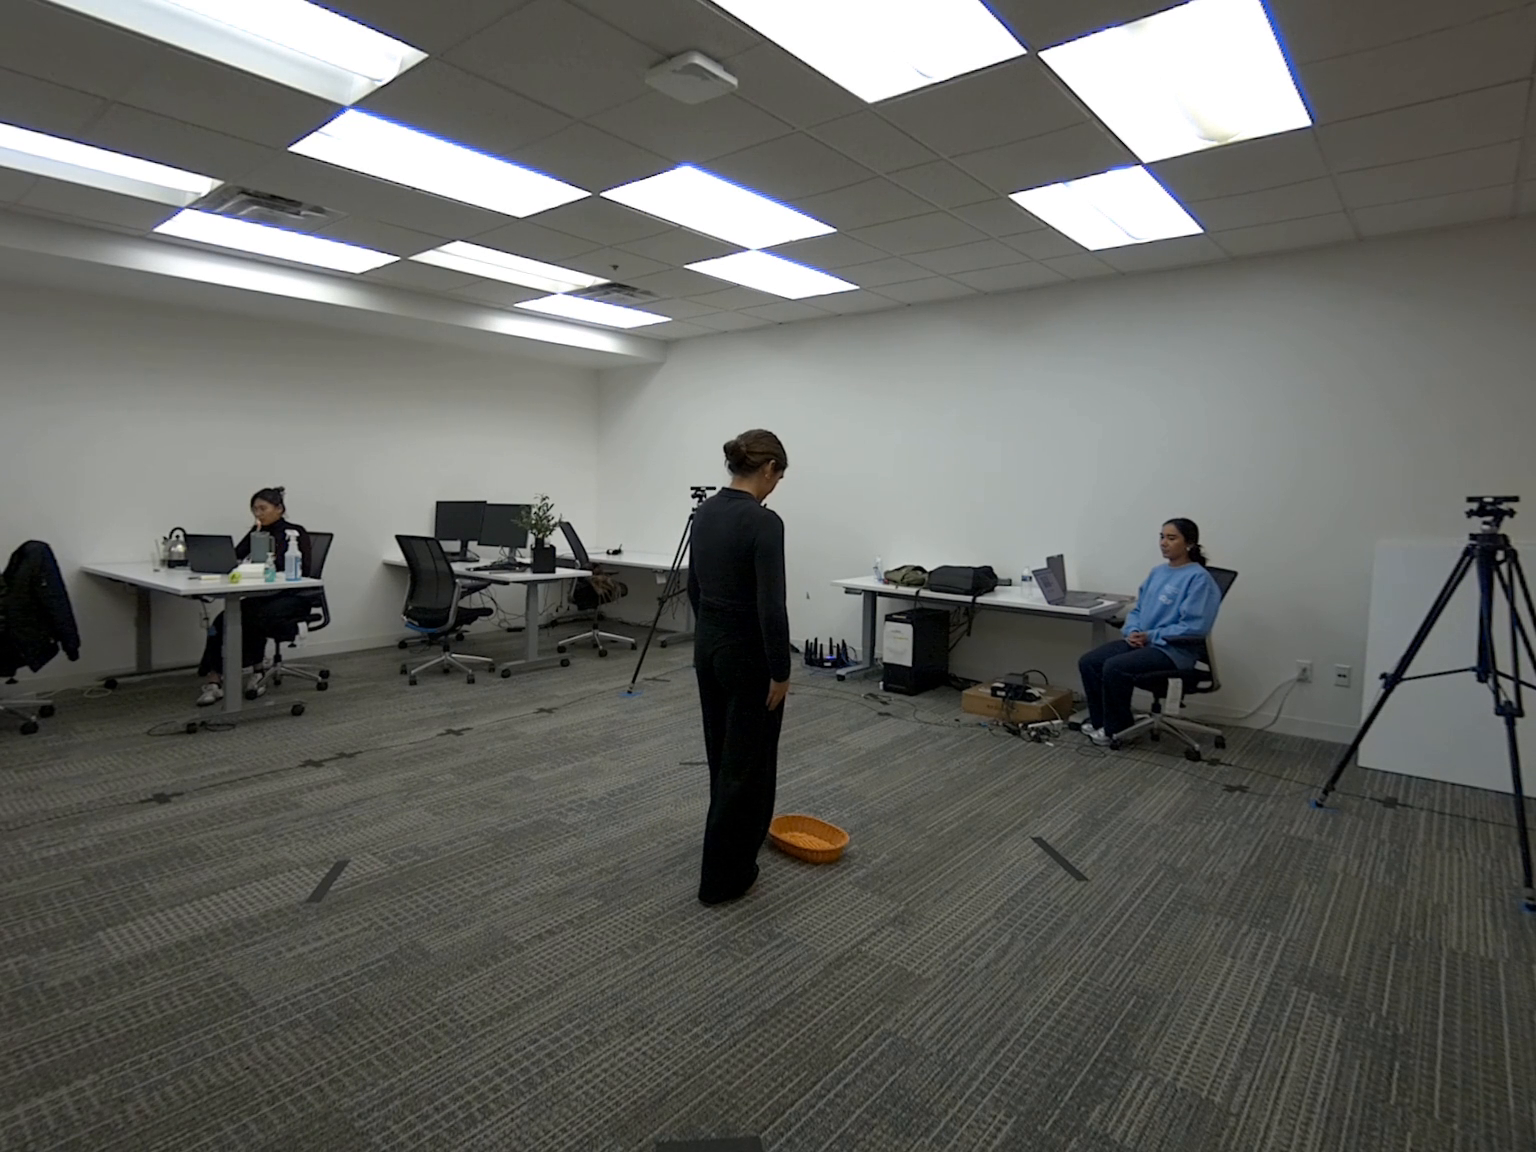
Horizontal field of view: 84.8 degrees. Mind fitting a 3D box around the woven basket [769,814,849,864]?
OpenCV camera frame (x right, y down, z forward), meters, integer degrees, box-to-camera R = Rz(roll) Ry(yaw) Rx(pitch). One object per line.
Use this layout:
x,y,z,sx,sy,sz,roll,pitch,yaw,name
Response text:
0.146,1.016,3.288,0.245,0.073,0.363,-6,9,-40,woven basket
